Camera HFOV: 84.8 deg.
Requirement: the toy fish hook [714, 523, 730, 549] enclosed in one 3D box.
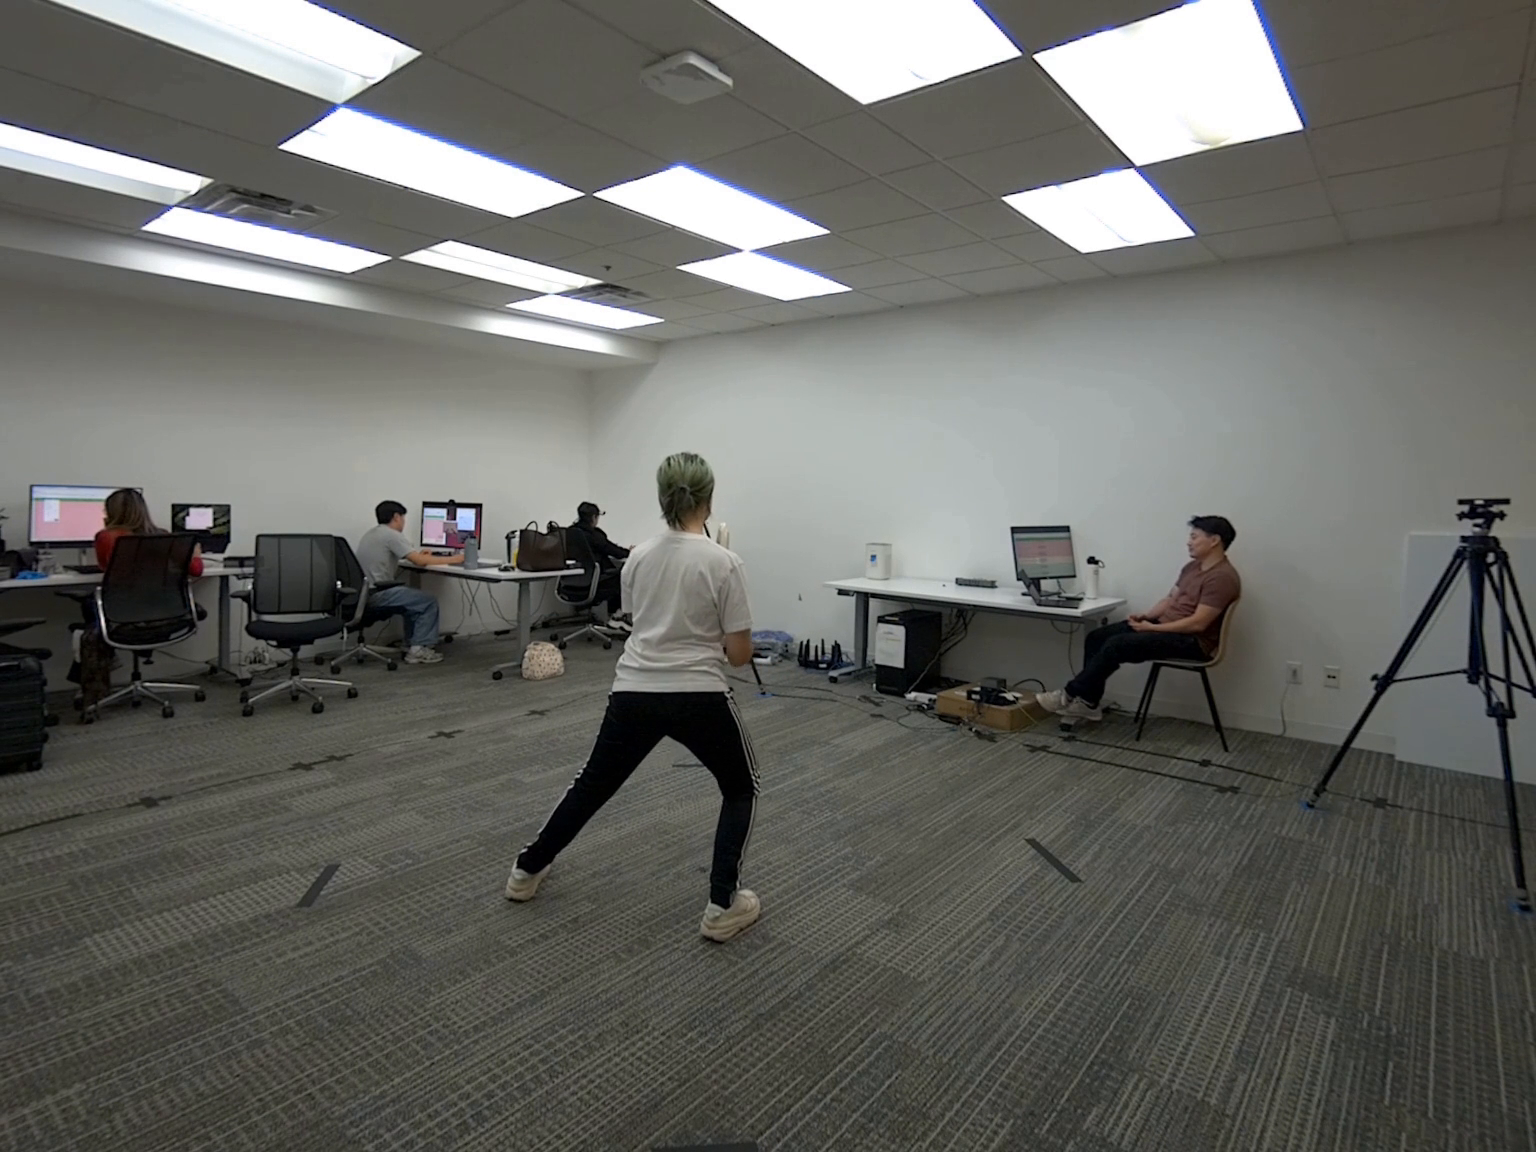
[{"bbox_3d":[-0.189,0.048,3.133,0.048,0.516,0.221,2,-20,-3],"label":"toy fish hook"}]
